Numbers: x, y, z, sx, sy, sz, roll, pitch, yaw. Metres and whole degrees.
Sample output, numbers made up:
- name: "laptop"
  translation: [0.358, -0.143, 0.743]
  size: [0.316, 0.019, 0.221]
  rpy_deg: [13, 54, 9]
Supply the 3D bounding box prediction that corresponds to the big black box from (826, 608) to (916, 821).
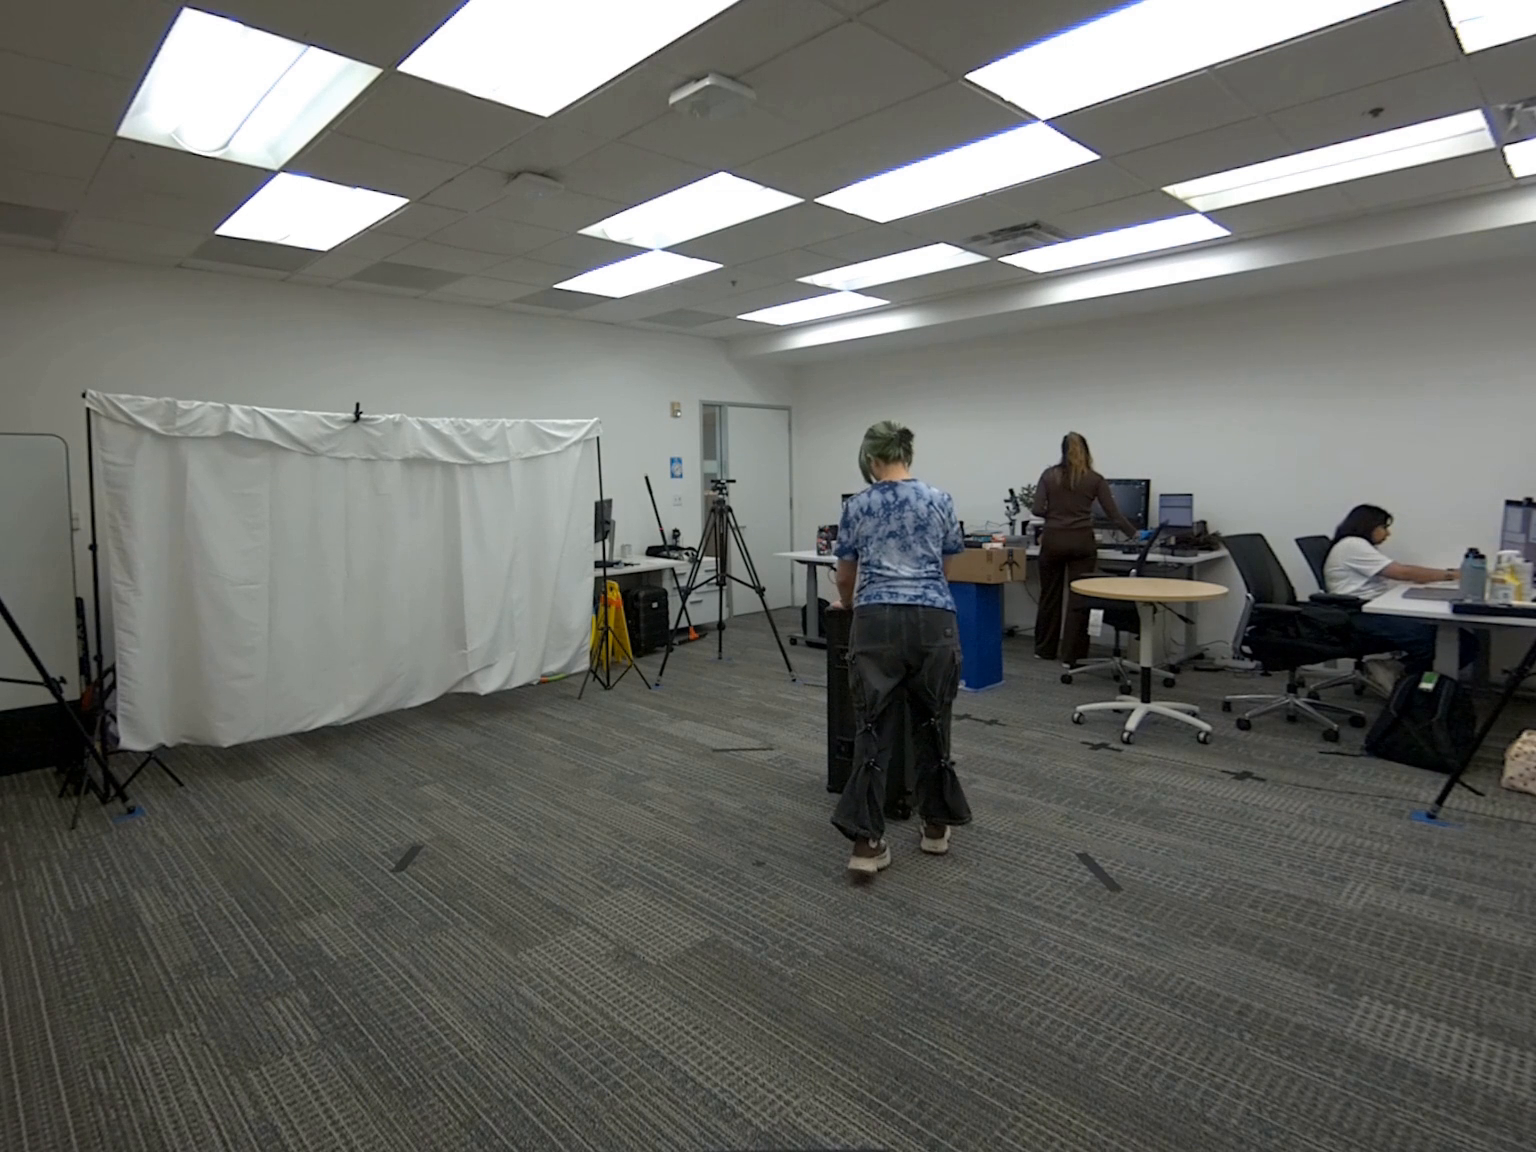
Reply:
- name: "big black box"
  translation: [0.538, 0.545, 3.691]
  size: [0.408, 0.858, 0.508]
  rpy_deg: [3, 6, 35]
